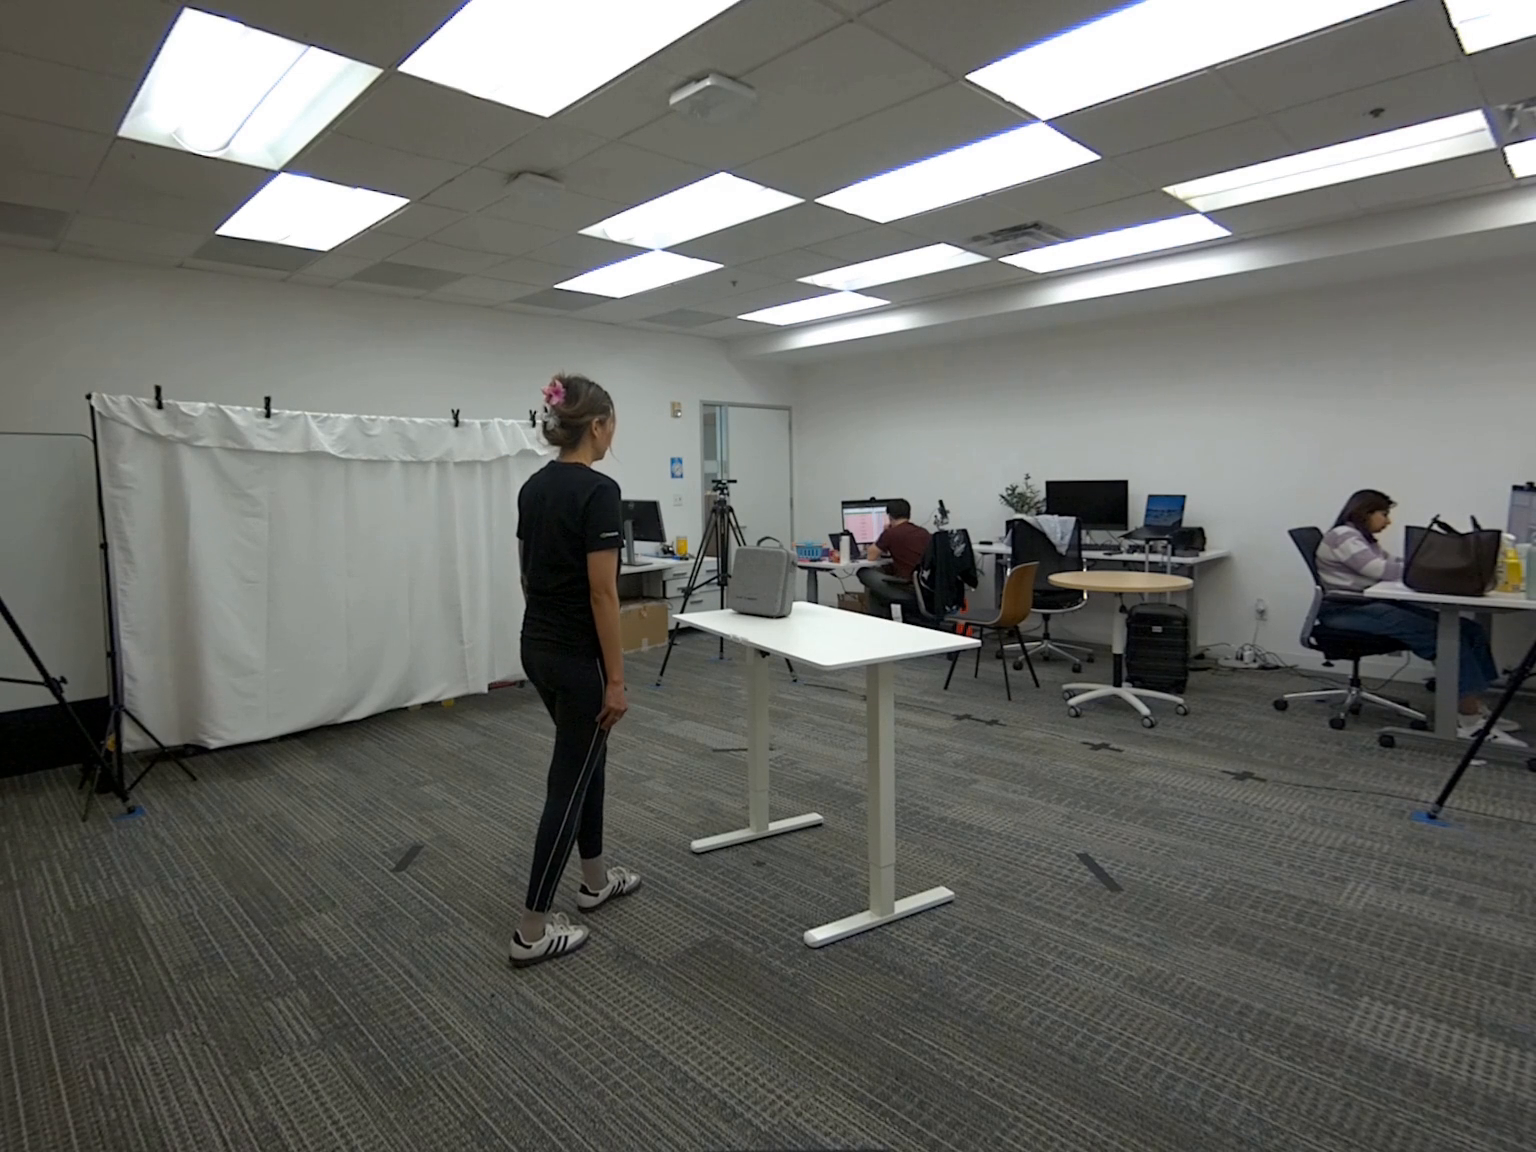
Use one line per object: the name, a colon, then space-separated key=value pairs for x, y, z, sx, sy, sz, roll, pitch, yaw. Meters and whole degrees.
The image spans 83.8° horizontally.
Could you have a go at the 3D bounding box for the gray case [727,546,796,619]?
gray case: x=-0.018 y=0.015 z=3.234 sx=0.265 sy=0.261 sz=0.101 roll=5 pitch=-5 yaw=42
